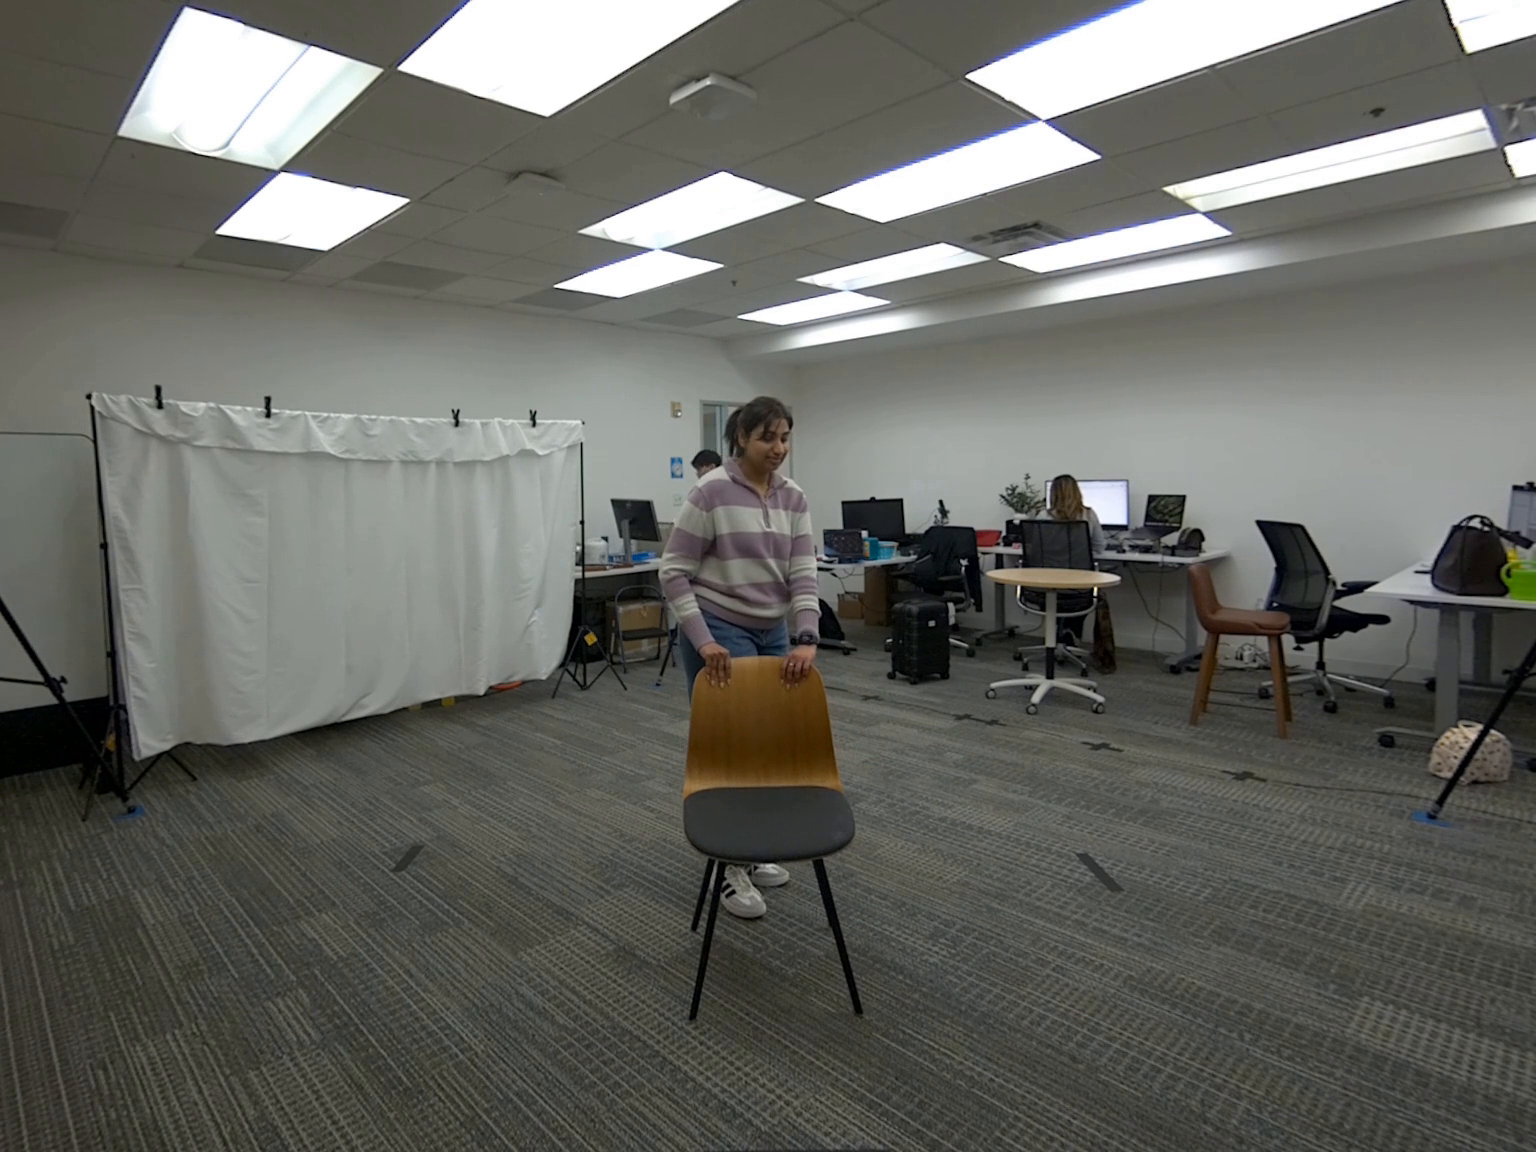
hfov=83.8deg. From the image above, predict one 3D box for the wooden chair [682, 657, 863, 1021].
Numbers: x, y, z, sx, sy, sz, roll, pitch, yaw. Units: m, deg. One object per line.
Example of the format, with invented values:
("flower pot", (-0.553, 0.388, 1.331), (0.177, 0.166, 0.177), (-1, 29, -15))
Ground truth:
("wooden chair", (0.001, 0.700, 2.399), (0.477, 0.878, 0.524), (-1, 0, -3))
